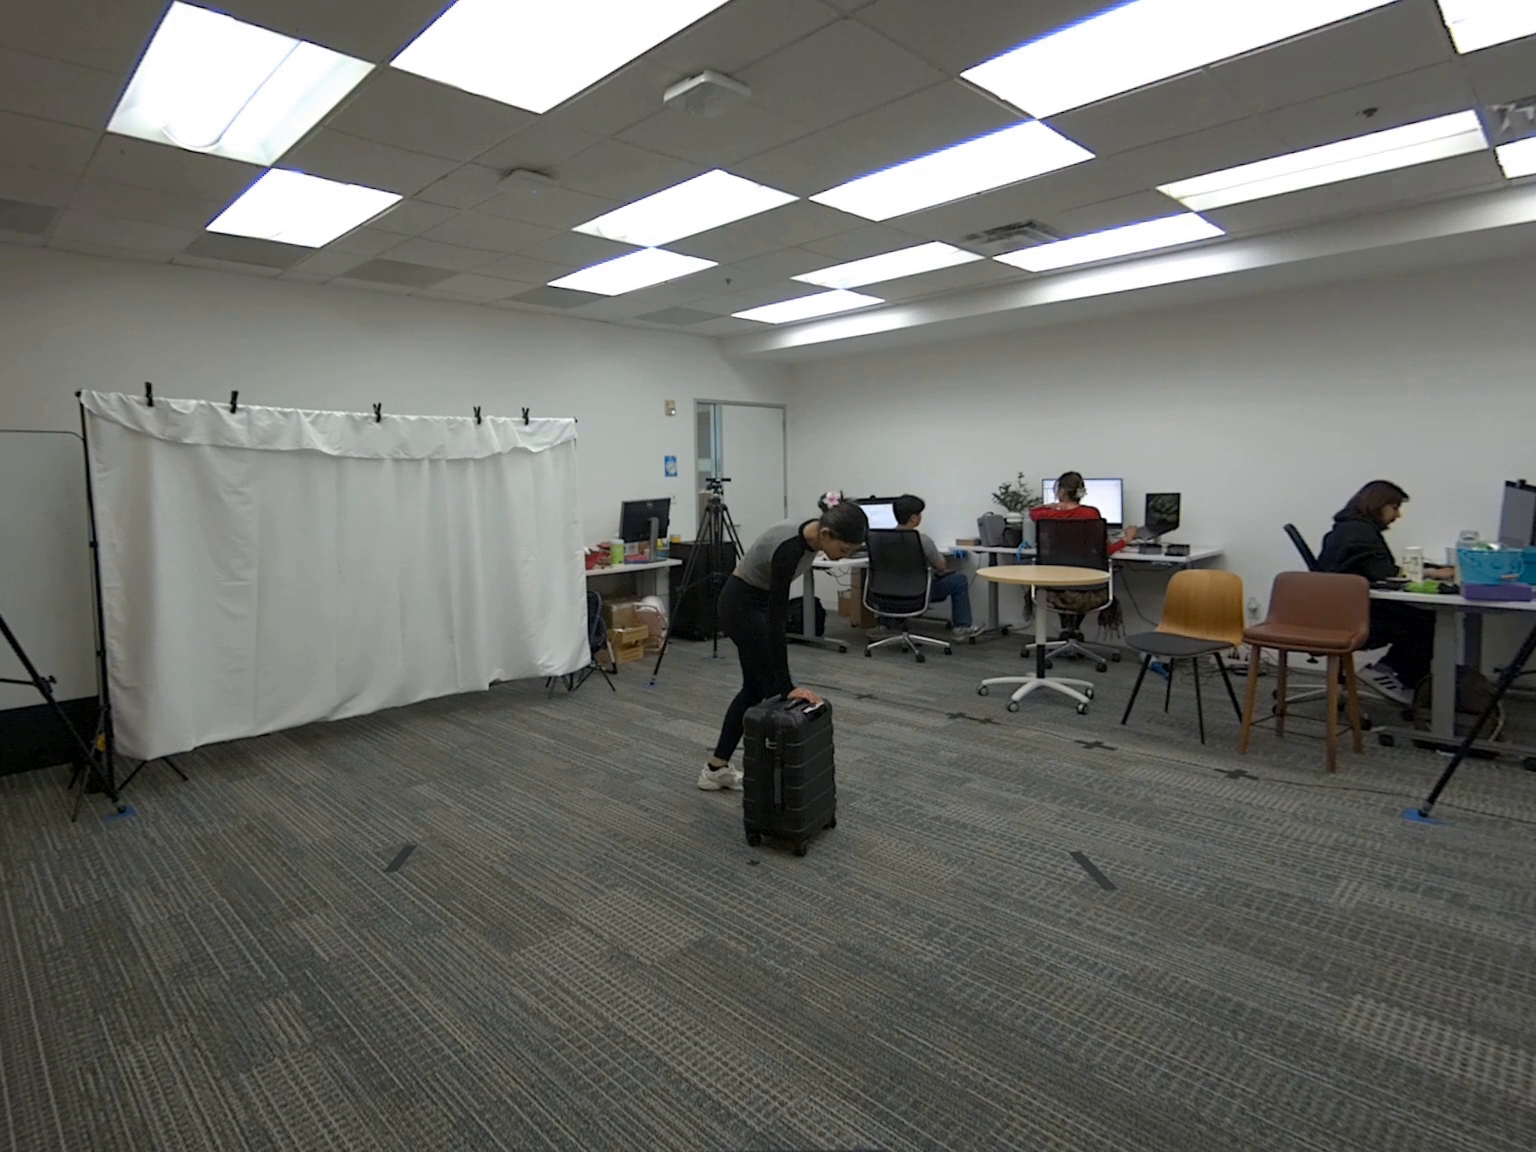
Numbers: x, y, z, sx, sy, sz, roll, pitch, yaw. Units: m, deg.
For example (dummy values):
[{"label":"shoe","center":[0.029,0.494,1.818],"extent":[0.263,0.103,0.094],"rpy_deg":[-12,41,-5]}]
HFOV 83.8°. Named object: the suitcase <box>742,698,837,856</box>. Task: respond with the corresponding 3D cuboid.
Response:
[{"label":"suitcase","center":[0.087,0.745,3.307],"extent":[0.255,0.547,0.367],"rpy_deg":[2,5,29]}]
